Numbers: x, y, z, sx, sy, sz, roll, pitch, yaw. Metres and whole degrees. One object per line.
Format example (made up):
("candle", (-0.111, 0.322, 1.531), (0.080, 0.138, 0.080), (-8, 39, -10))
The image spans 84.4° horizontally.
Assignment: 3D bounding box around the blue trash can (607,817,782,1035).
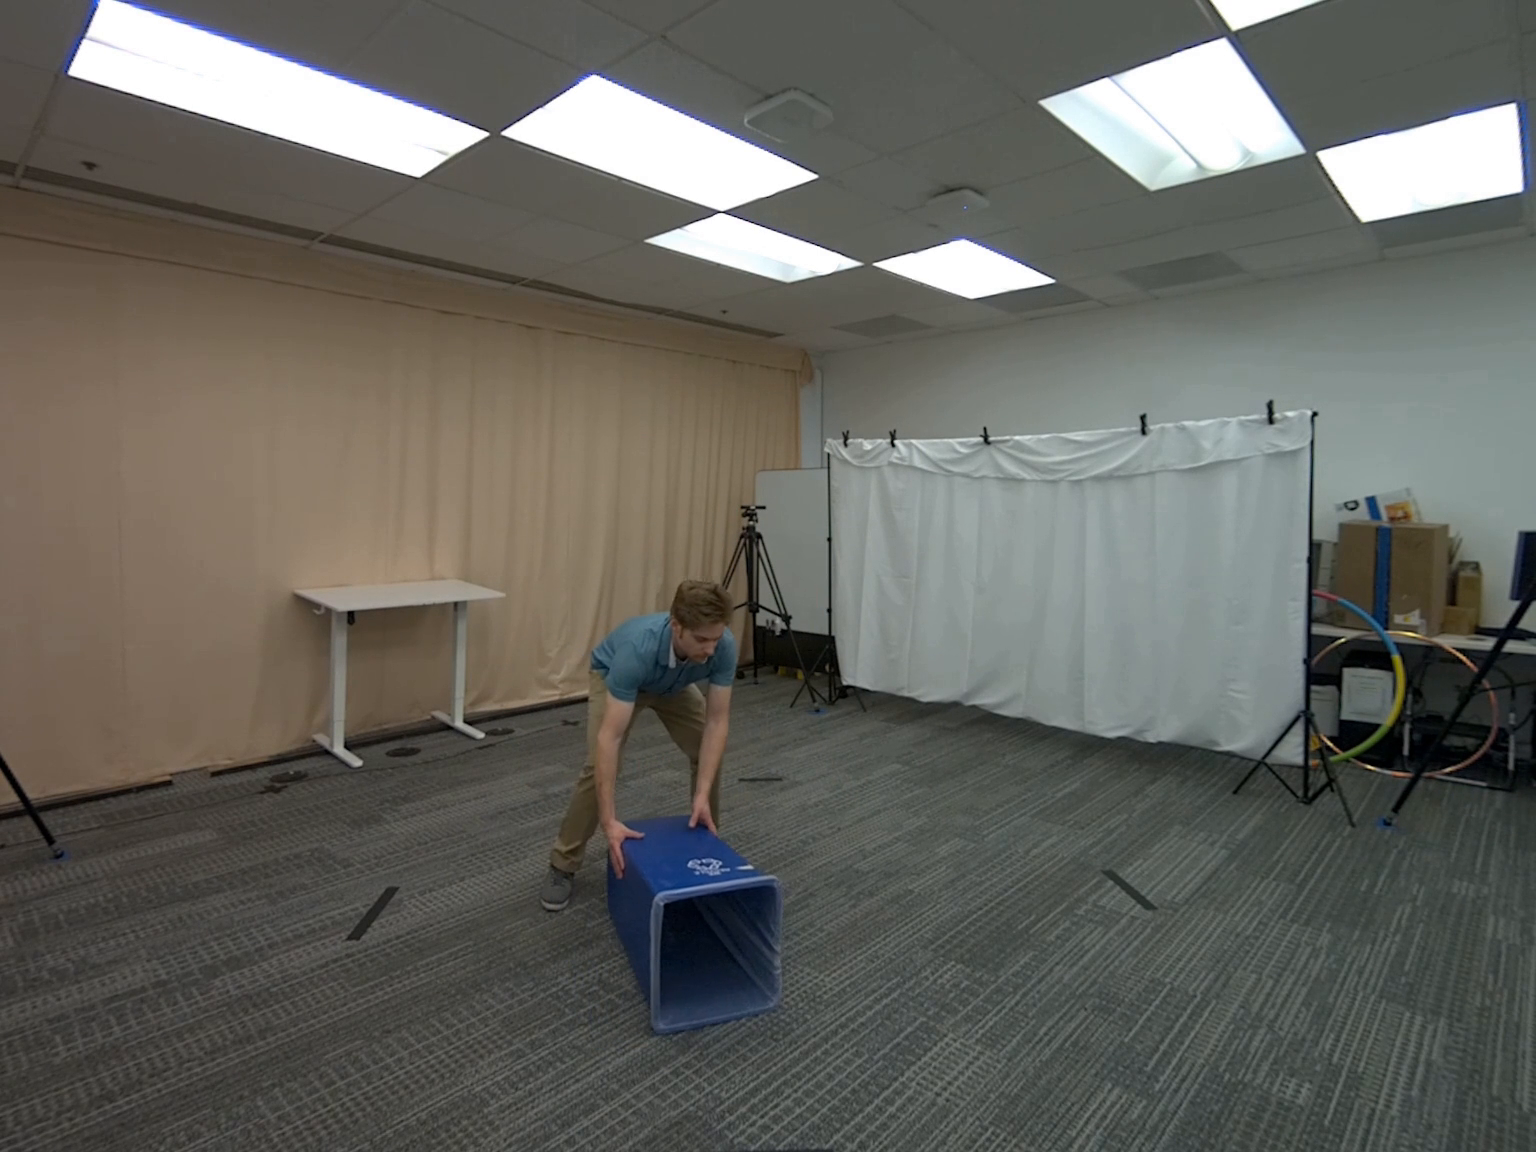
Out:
("blue trash can", (-0.268, 1.011, 2.590), (0.366, 0.378, 0.729), (0, 1, -23))
